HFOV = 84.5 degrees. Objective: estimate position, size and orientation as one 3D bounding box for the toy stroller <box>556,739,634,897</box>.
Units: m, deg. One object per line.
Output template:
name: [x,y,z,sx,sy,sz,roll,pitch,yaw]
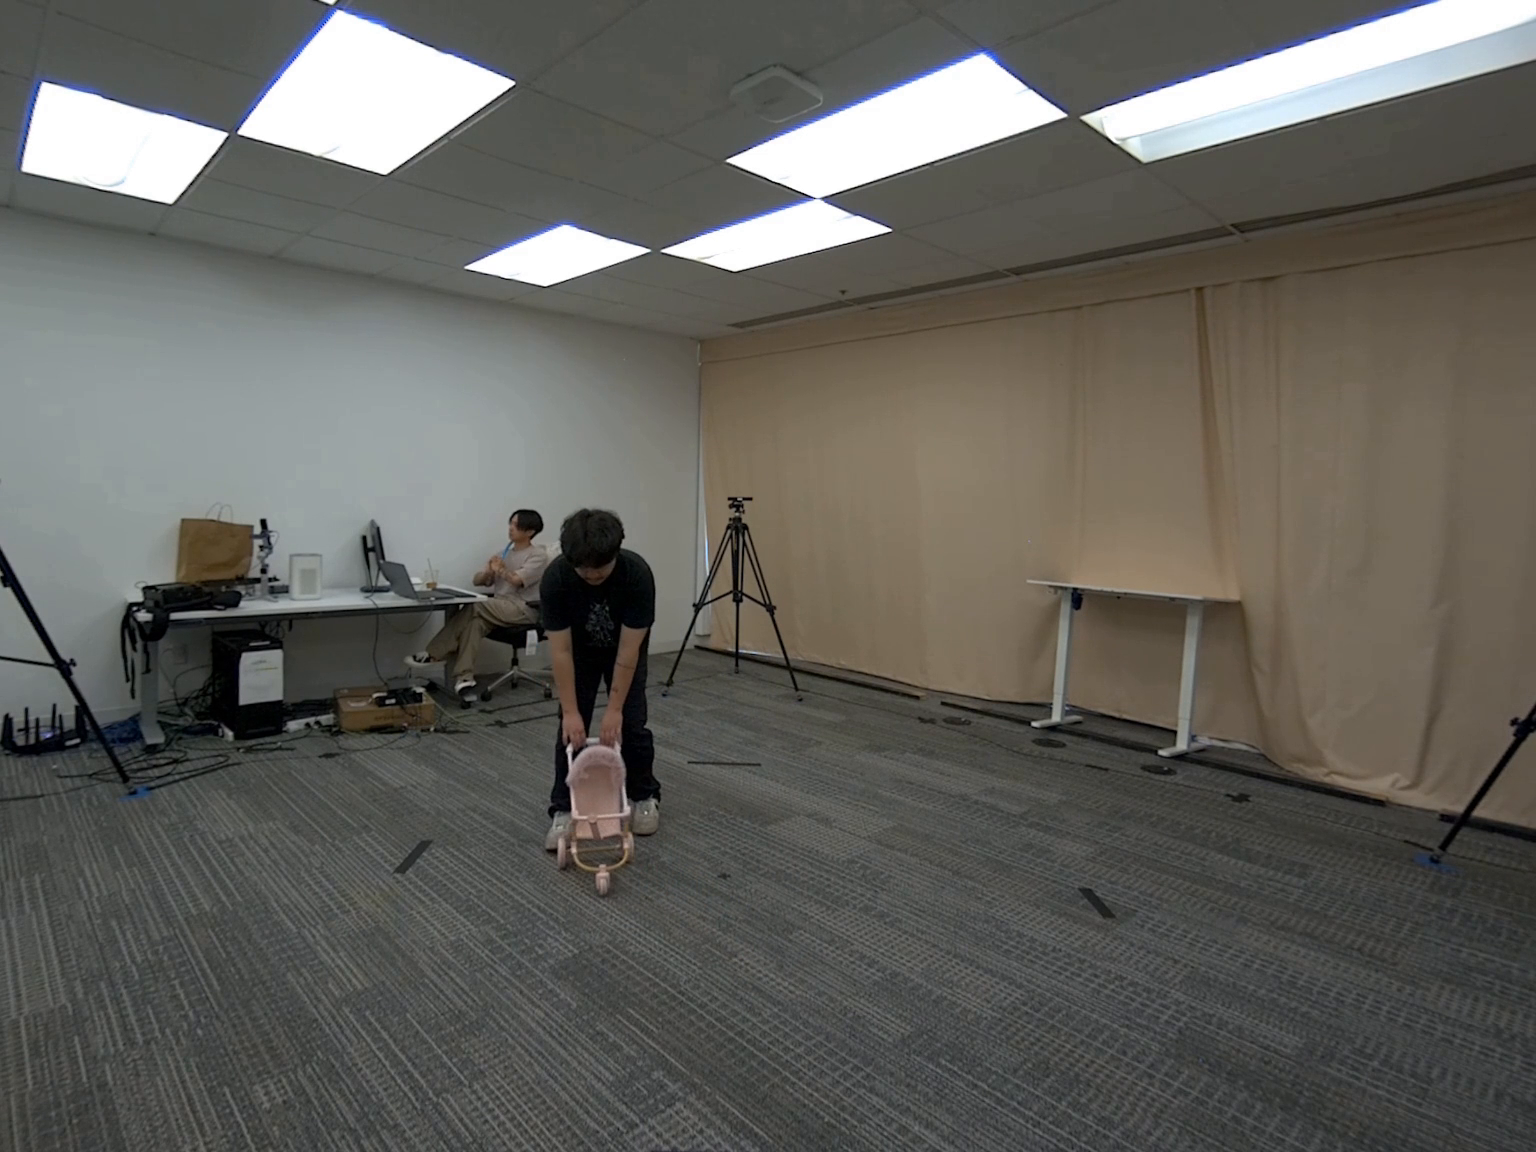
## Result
toy stroller: [-0.636,0.871,3.105,0.278,0.540,0.342,0,-11,-14]
